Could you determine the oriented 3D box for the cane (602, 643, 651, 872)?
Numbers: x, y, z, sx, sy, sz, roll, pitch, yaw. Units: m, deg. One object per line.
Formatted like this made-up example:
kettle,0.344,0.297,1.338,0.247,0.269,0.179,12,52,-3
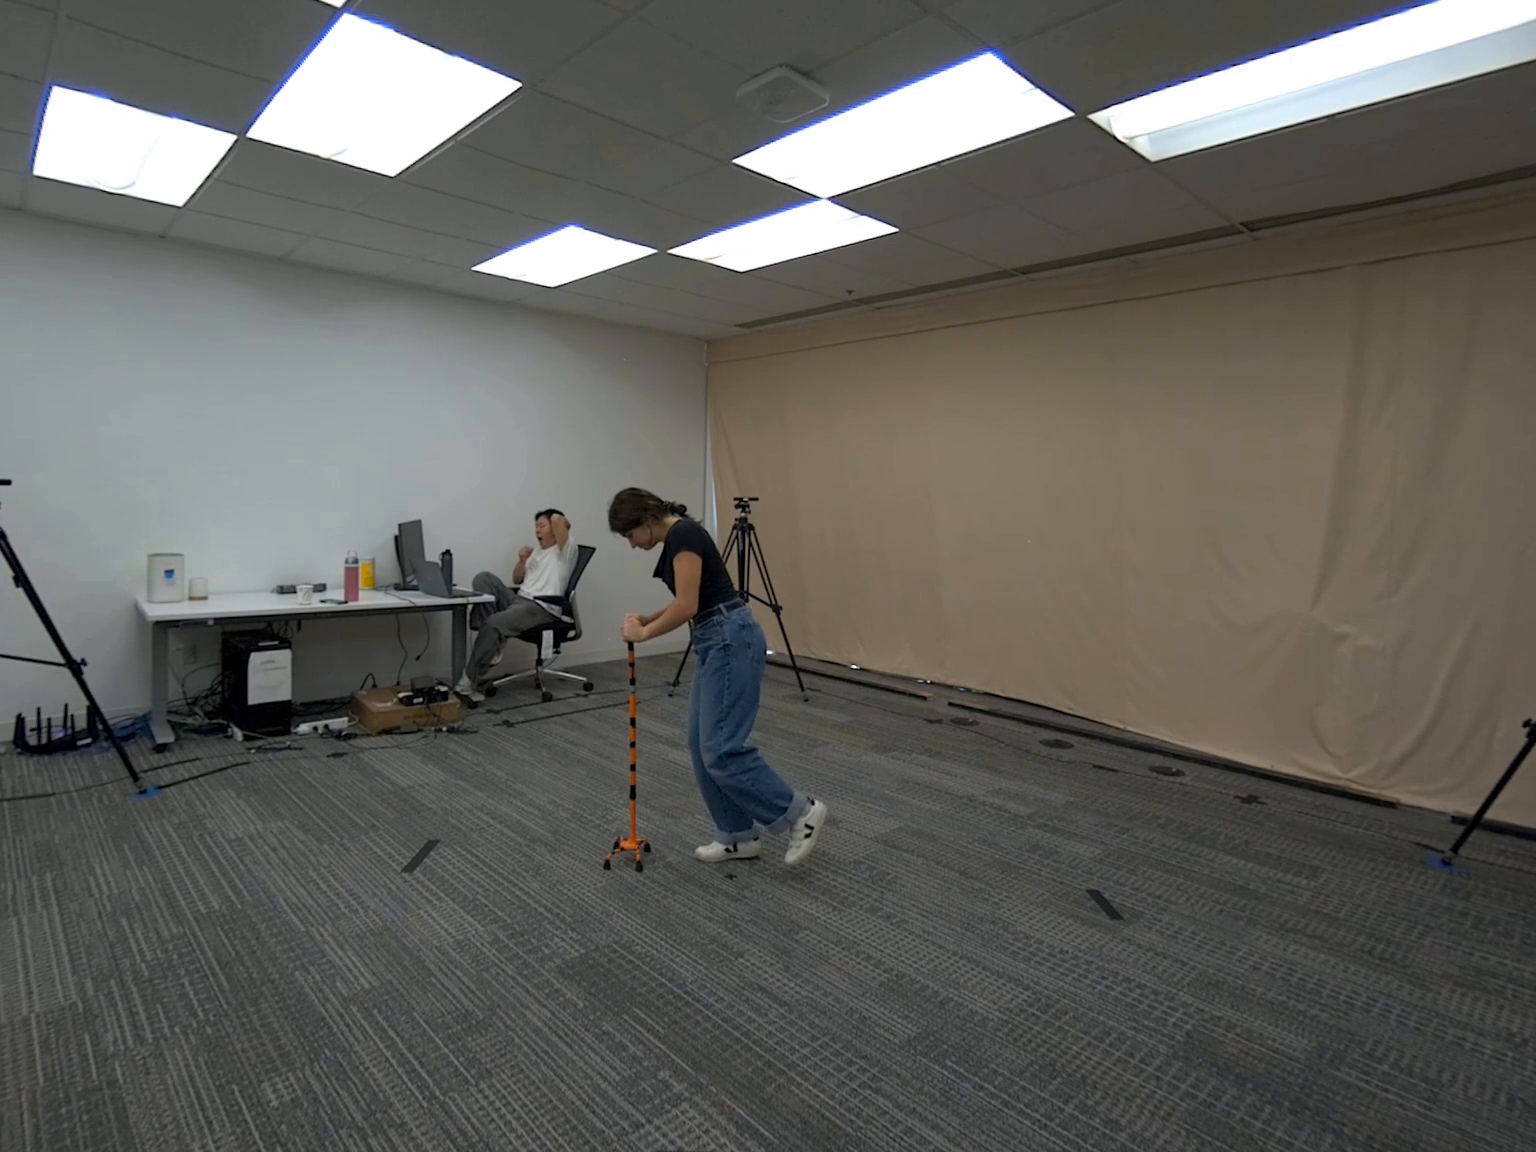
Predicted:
cane,-0.533,0.632,3.207,0.152,0.906,0.206,1,3,2
